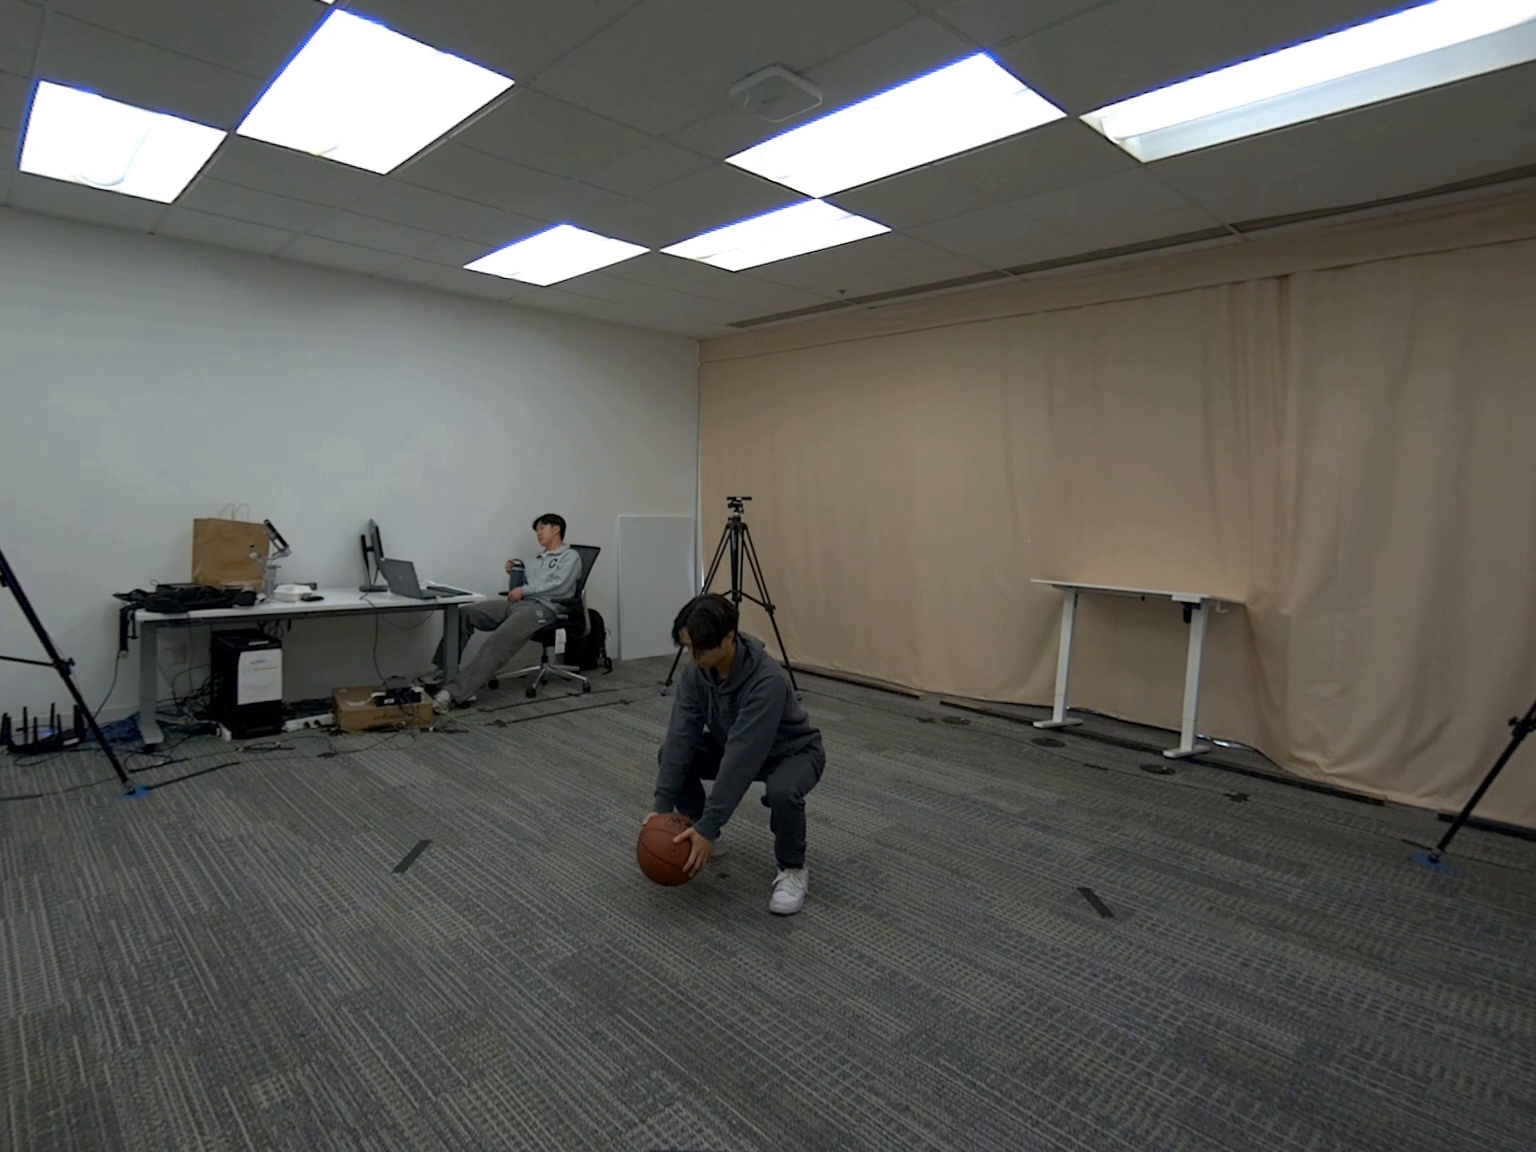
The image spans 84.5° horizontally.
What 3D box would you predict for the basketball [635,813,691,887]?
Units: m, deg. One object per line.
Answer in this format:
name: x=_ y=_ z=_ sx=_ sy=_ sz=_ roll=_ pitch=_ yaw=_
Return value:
basketball: x=-0.342 y=0.924 z=2.882 sx=0.236 sy=0.235 sz=0.237 roll=1 pitch=4 yaw=-1
